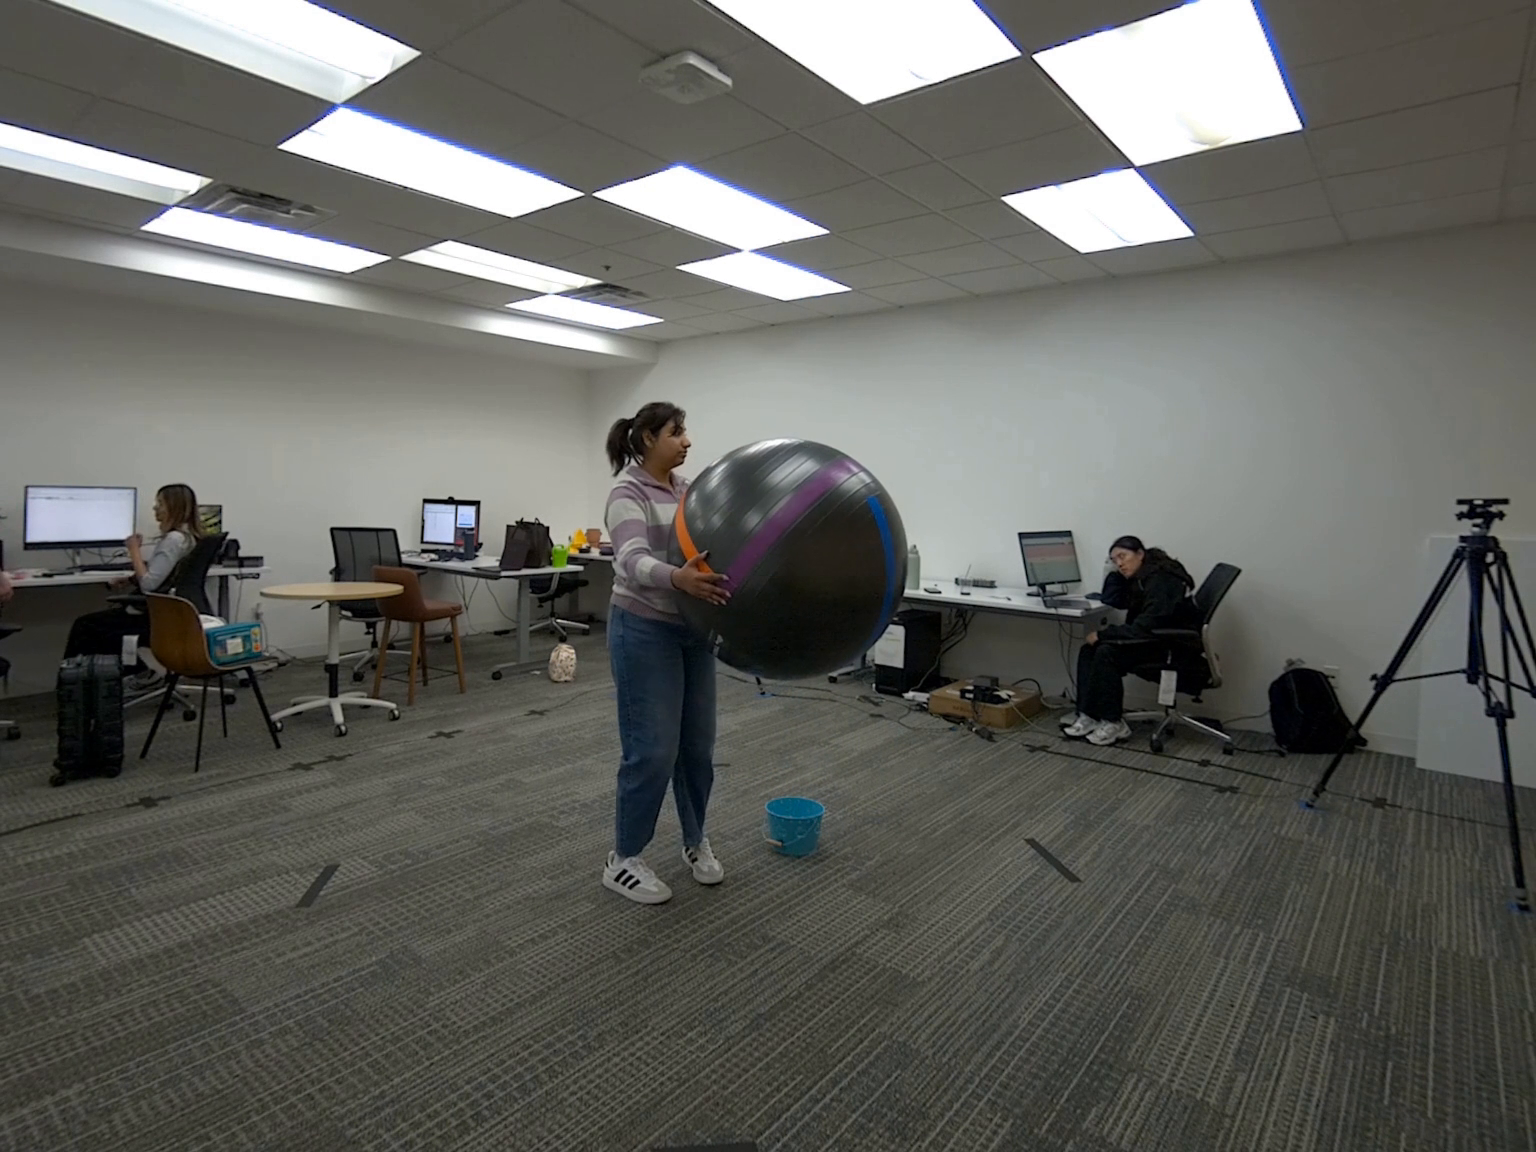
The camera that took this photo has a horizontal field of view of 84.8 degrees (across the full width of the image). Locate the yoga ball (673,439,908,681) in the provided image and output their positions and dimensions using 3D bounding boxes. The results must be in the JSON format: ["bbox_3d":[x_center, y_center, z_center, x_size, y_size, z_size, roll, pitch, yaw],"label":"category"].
[{"bbox_3d":[0.055,-0.047,2.681,0.757,0.756,0.762,1,4,-2],"label":"yoga ball"}]
